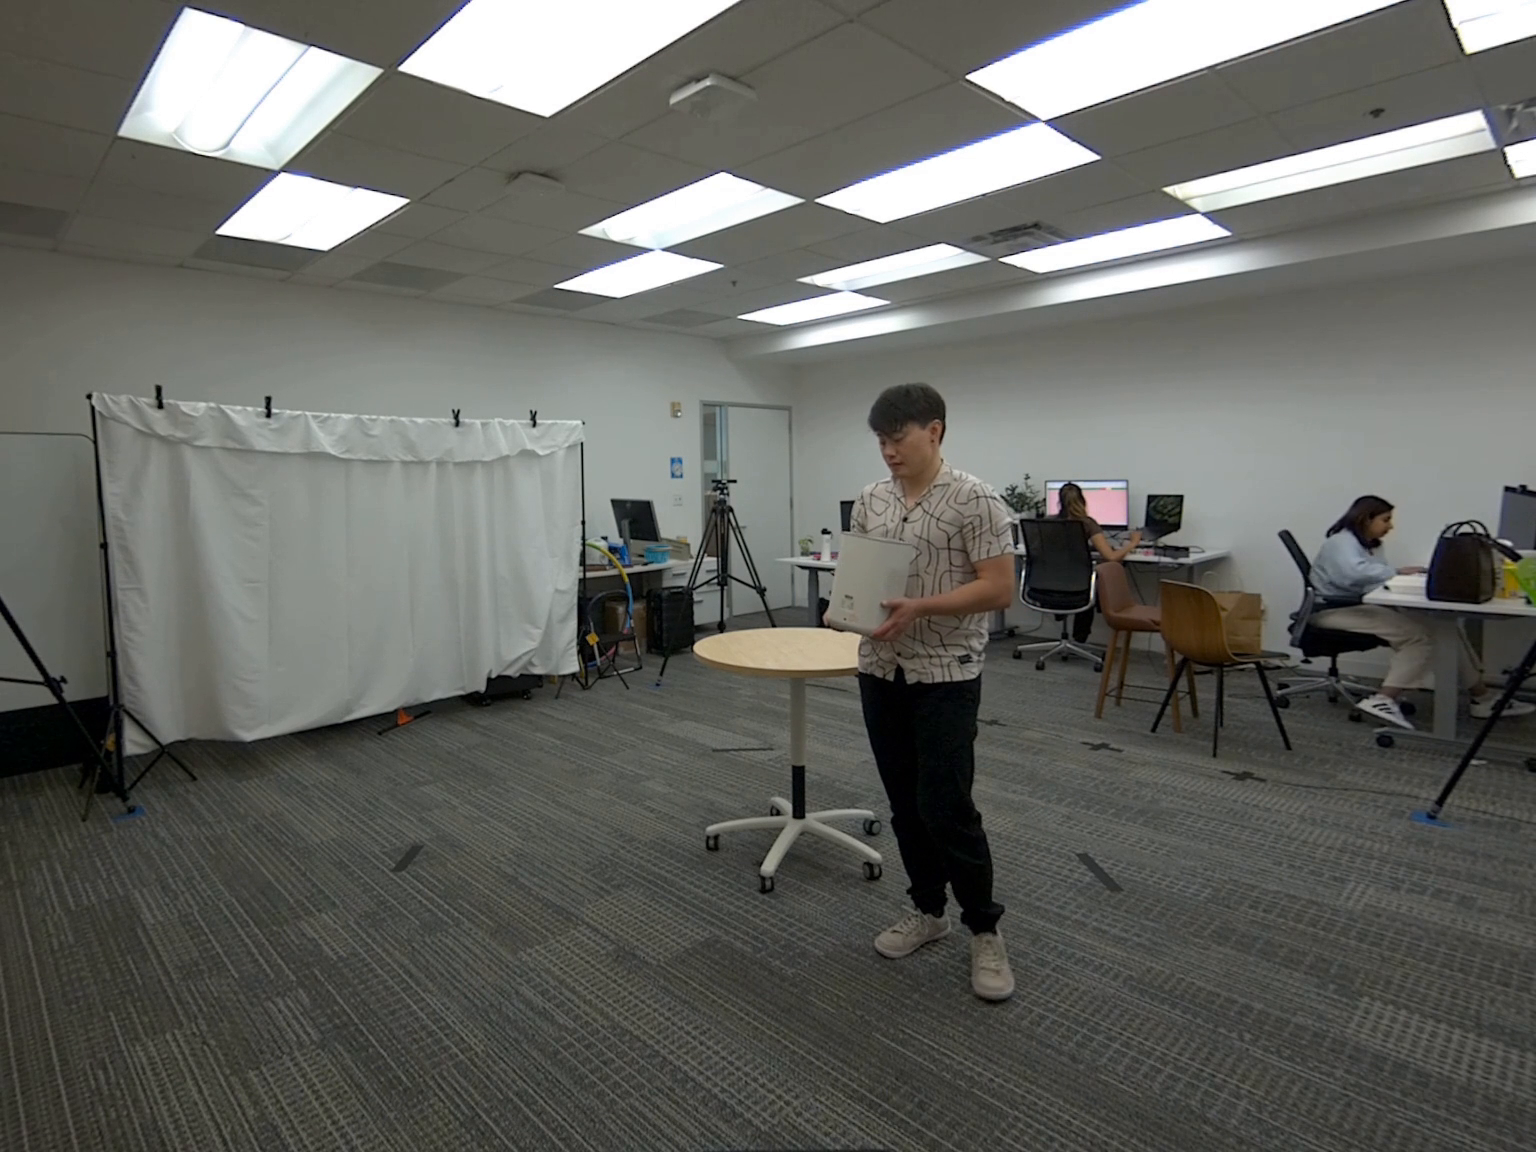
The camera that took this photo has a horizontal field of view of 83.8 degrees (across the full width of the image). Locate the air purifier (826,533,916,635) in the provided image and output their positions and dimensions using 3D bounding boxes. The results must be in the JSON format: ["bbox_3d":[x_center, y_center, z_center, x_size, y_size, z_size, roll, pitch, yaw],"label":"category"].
[{"bbox_3d":[0.295,0.027,2.360,0.177,0.265,0.166,11,3,40],"label":"air purifier"}]
